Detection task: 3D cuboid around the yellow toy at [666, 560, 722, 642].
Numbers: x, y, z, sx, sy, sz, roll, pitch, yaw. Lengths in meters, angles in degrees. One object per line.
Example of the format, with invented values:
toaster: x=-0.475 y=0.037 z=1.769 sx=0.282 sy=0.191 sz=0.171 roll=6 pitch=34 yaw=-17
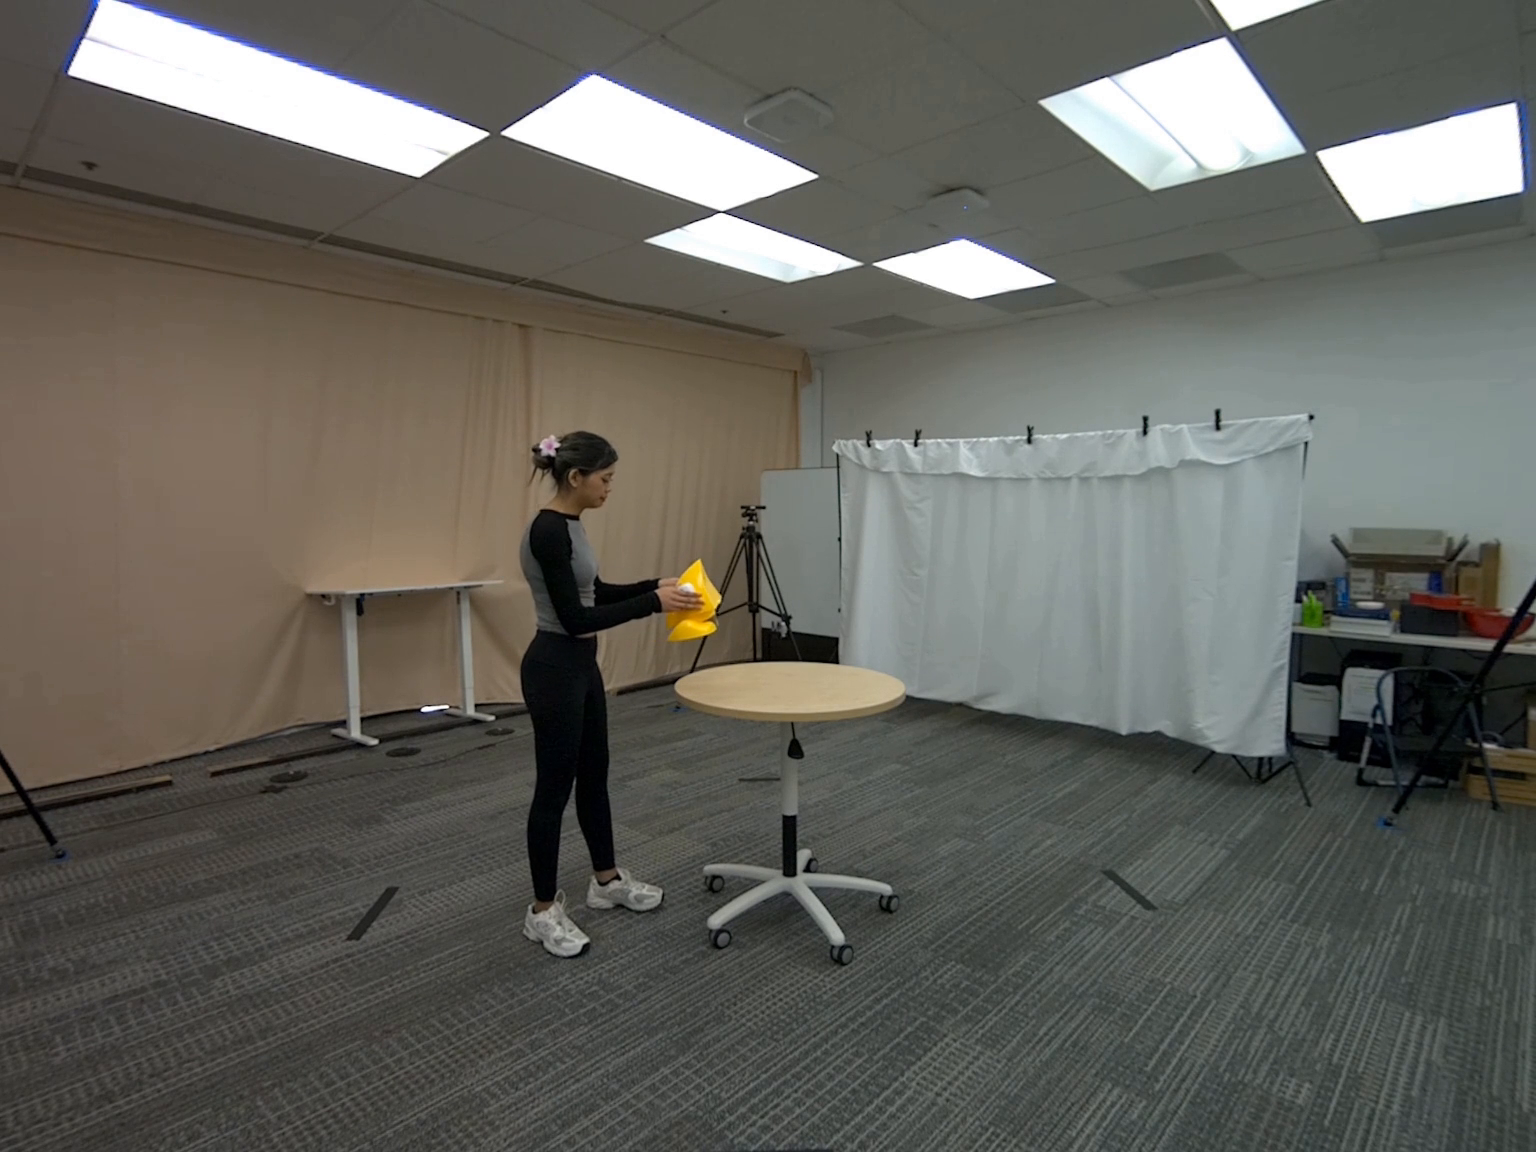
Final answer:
yellow toy: x=-0.251 y=0.072 z=2.733 sx=0.194 sy=0.230 sz=0.204 roll=-10 pitch=6 yaw=5
